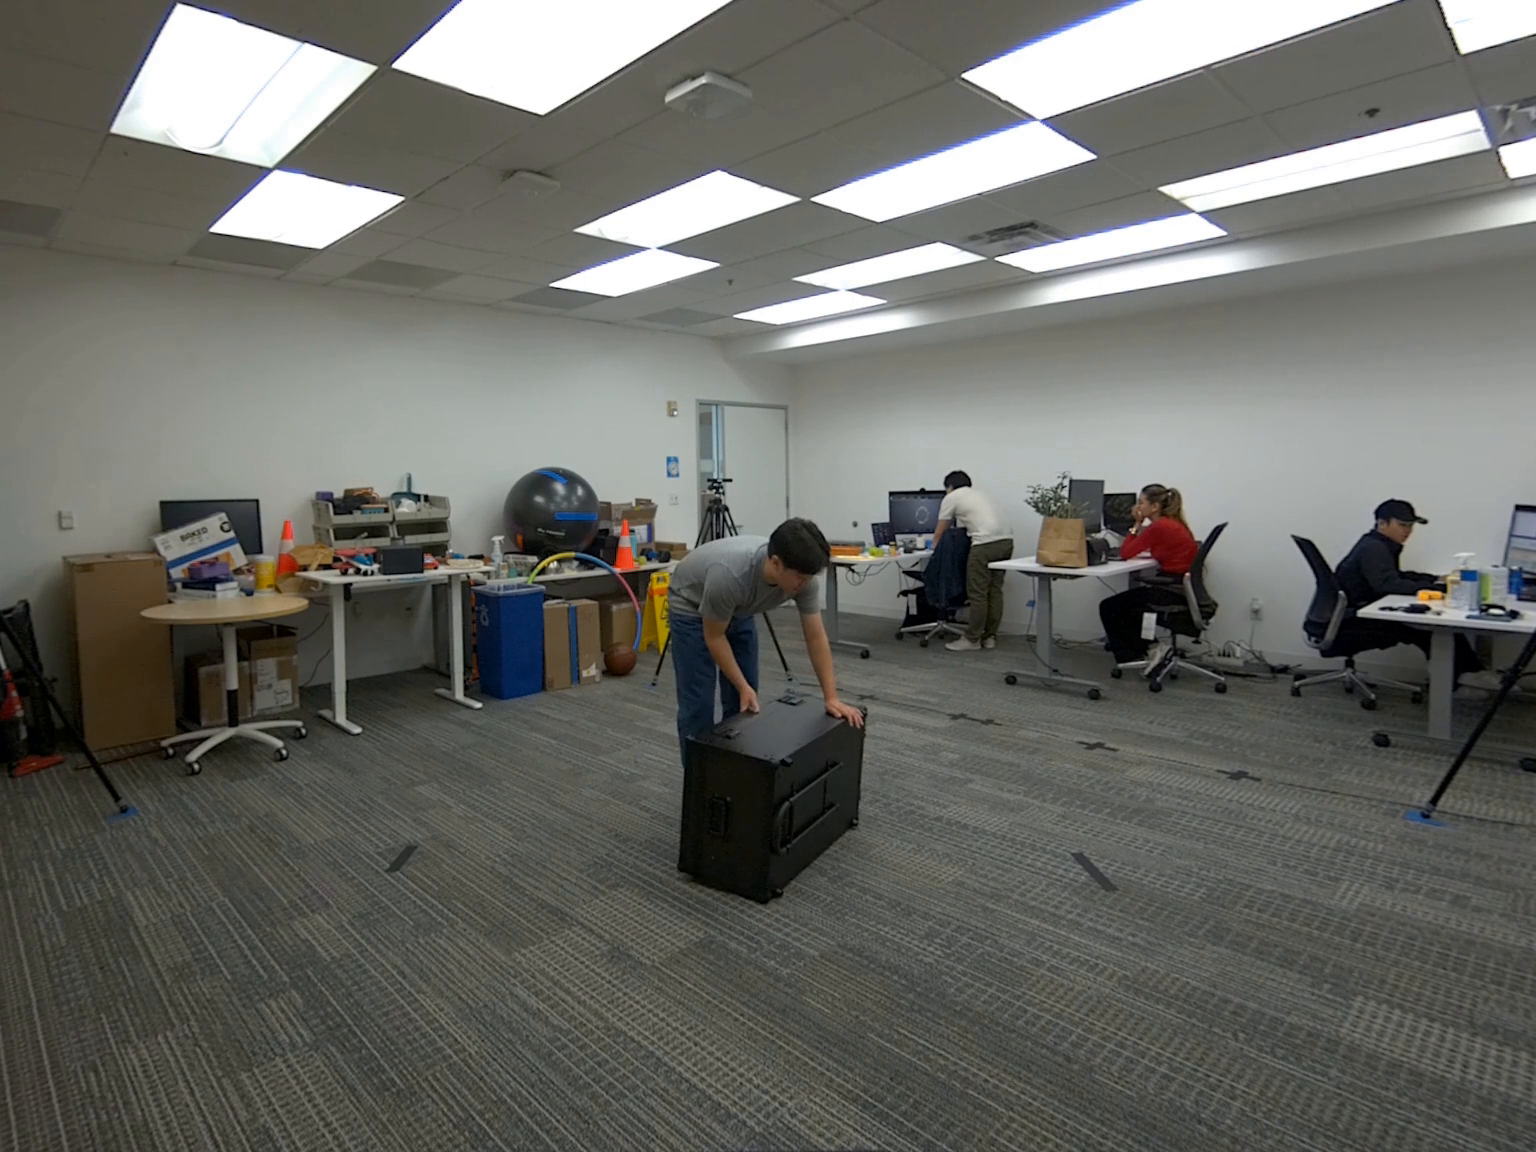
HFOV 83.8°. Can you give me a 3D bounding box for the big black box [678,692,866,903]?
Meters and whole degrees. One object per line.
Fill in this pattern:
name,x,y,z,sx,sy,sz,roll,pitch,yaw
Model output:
big black box,0.074,0.766,3.209,0.407,0.518,0.842,8,9,29
